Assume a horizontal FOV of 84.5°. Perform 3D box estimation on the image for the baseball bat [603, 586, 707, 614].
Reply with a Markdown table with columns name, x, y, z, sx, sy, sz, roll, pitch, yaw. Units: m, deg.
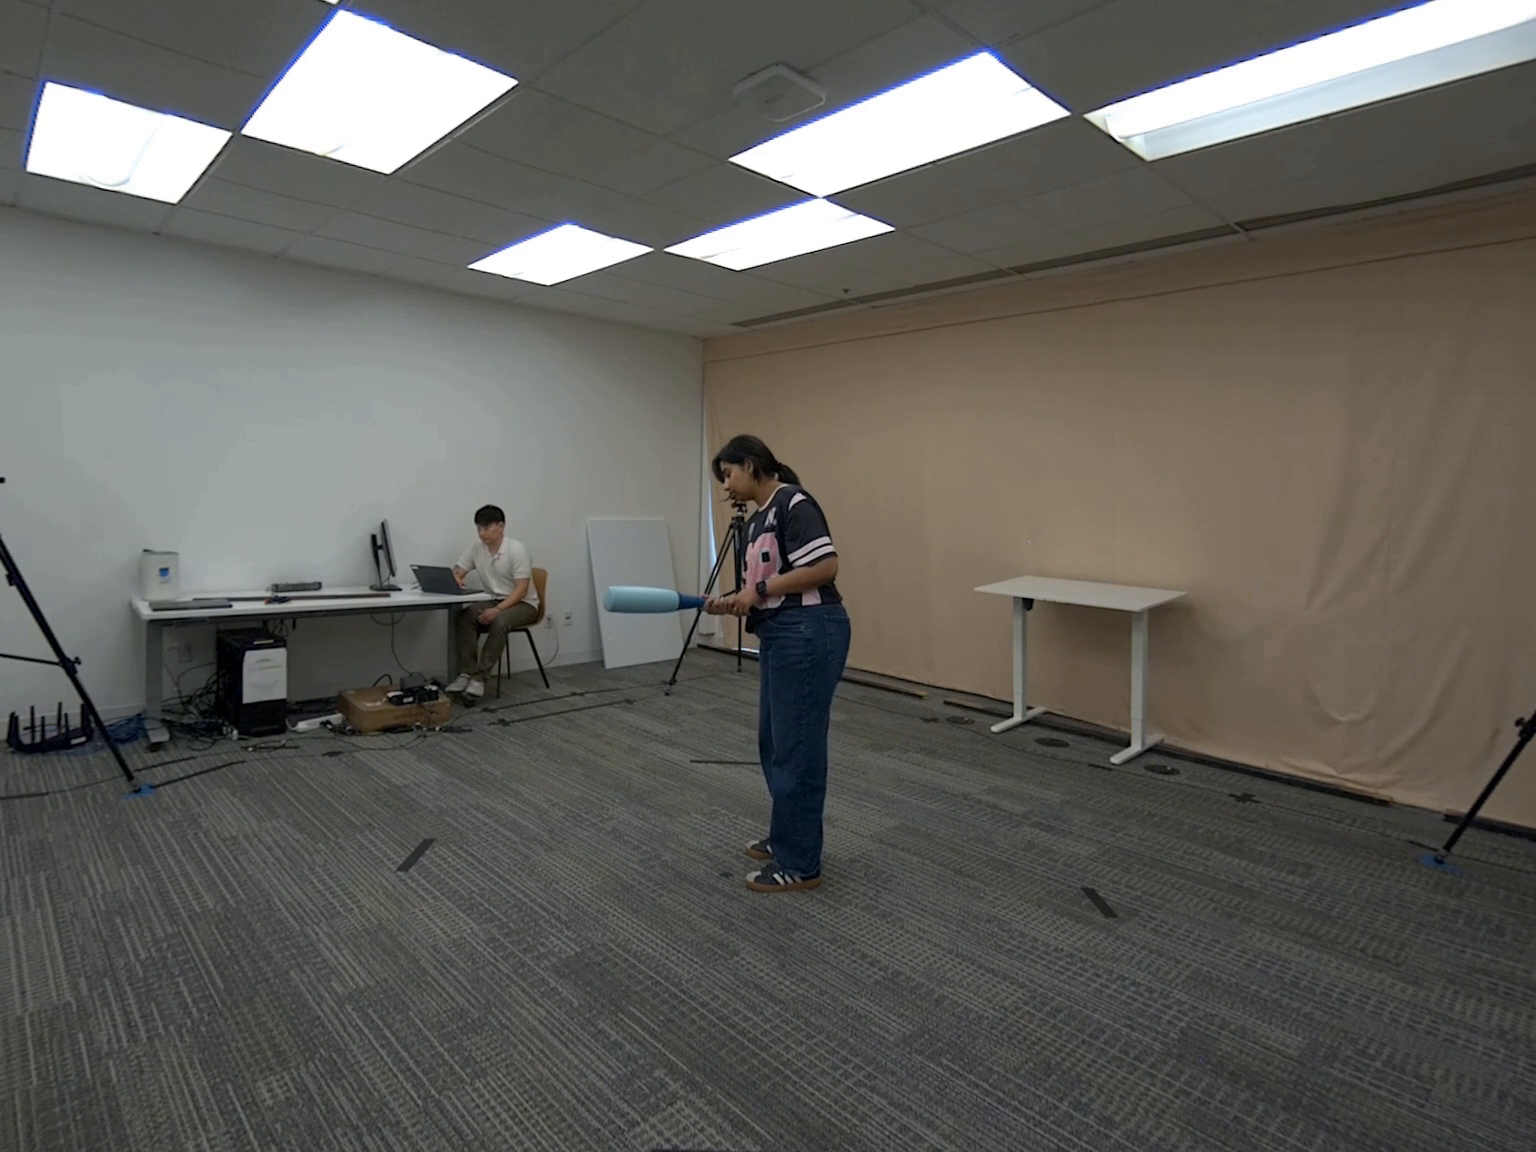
| name | x | y | z | sx | sy | sz | roll | pitch | yaw |
| --- | --- | --- | --- | --- | --- | --- | --- | --- | --- |
| baseball bat | -0.307 | 0.105 | 2.876 | 0.531 | 0.089 | 0.091 | 4 | 2 | -31 |
